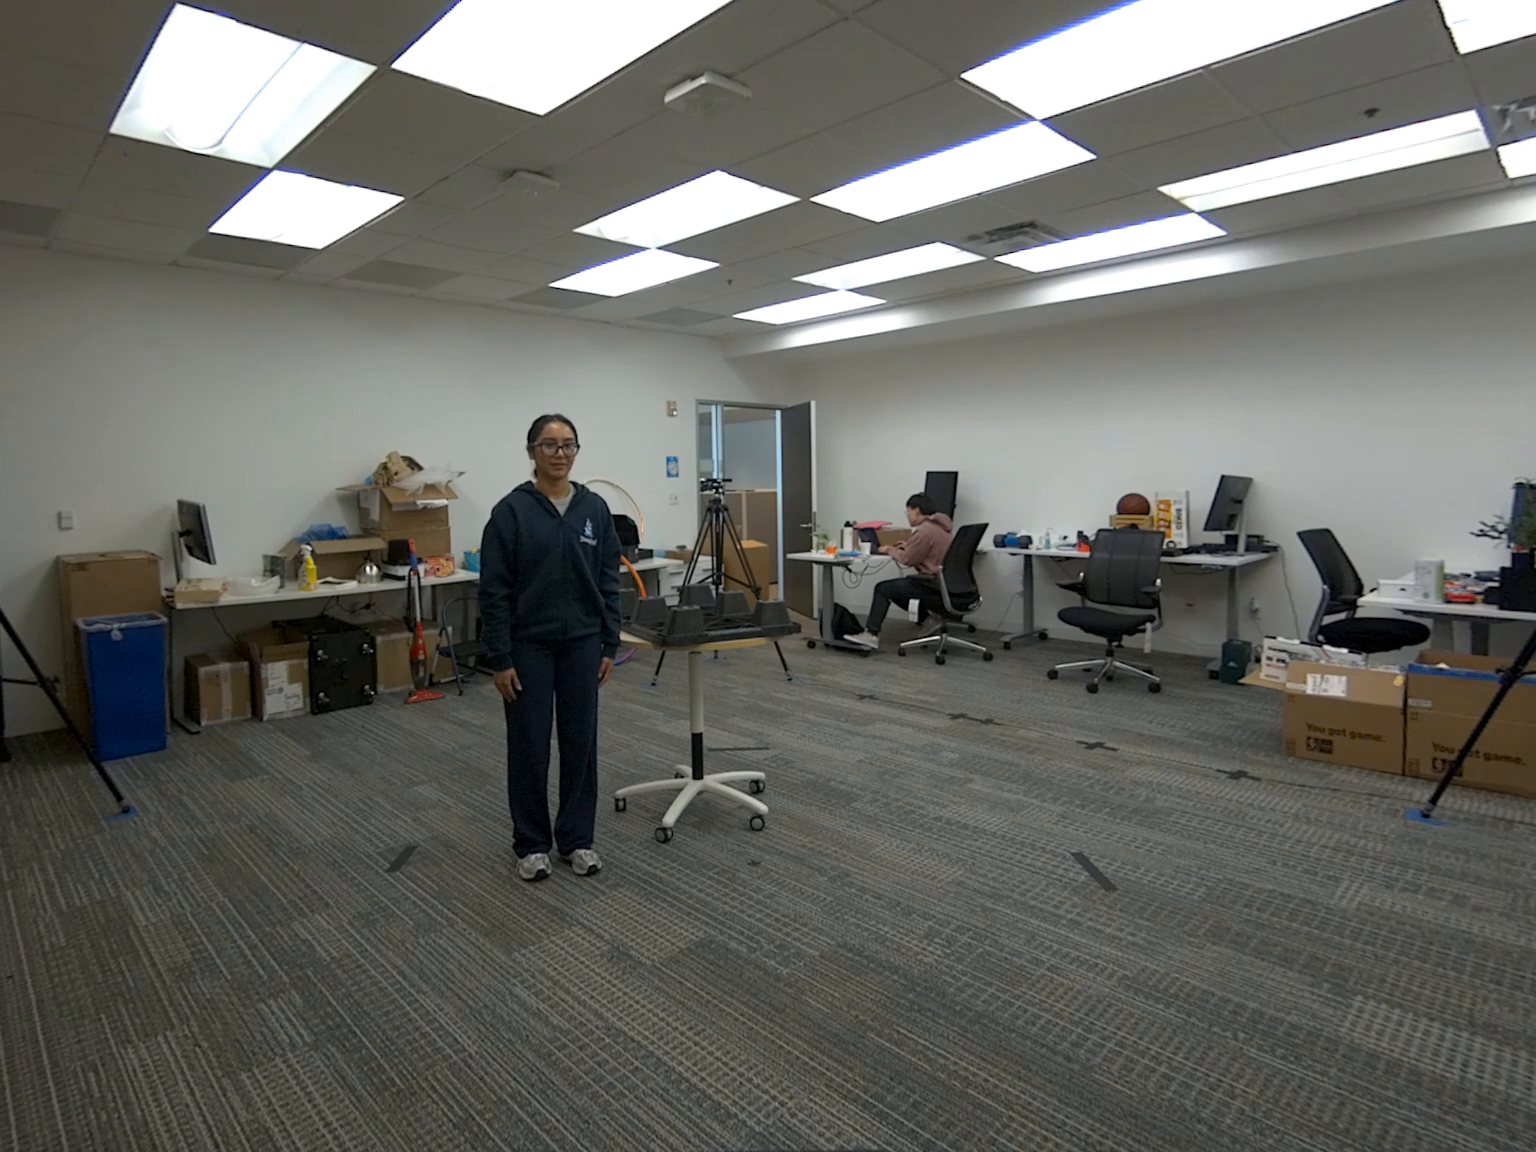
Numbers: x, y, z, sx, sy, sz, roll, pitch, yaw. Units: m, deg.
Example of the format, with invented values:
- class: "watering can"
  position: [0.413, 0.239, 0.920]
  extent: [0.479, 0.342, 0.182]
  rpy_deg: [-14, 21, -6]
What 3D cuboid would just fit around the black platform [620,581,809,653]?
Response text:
- class: "black platform"
  position: [-0.306, 0.148, 3.593]
  extent: [0.592, 0.143, 0.827]
  rpy_deg: [-4, 7, -28]
